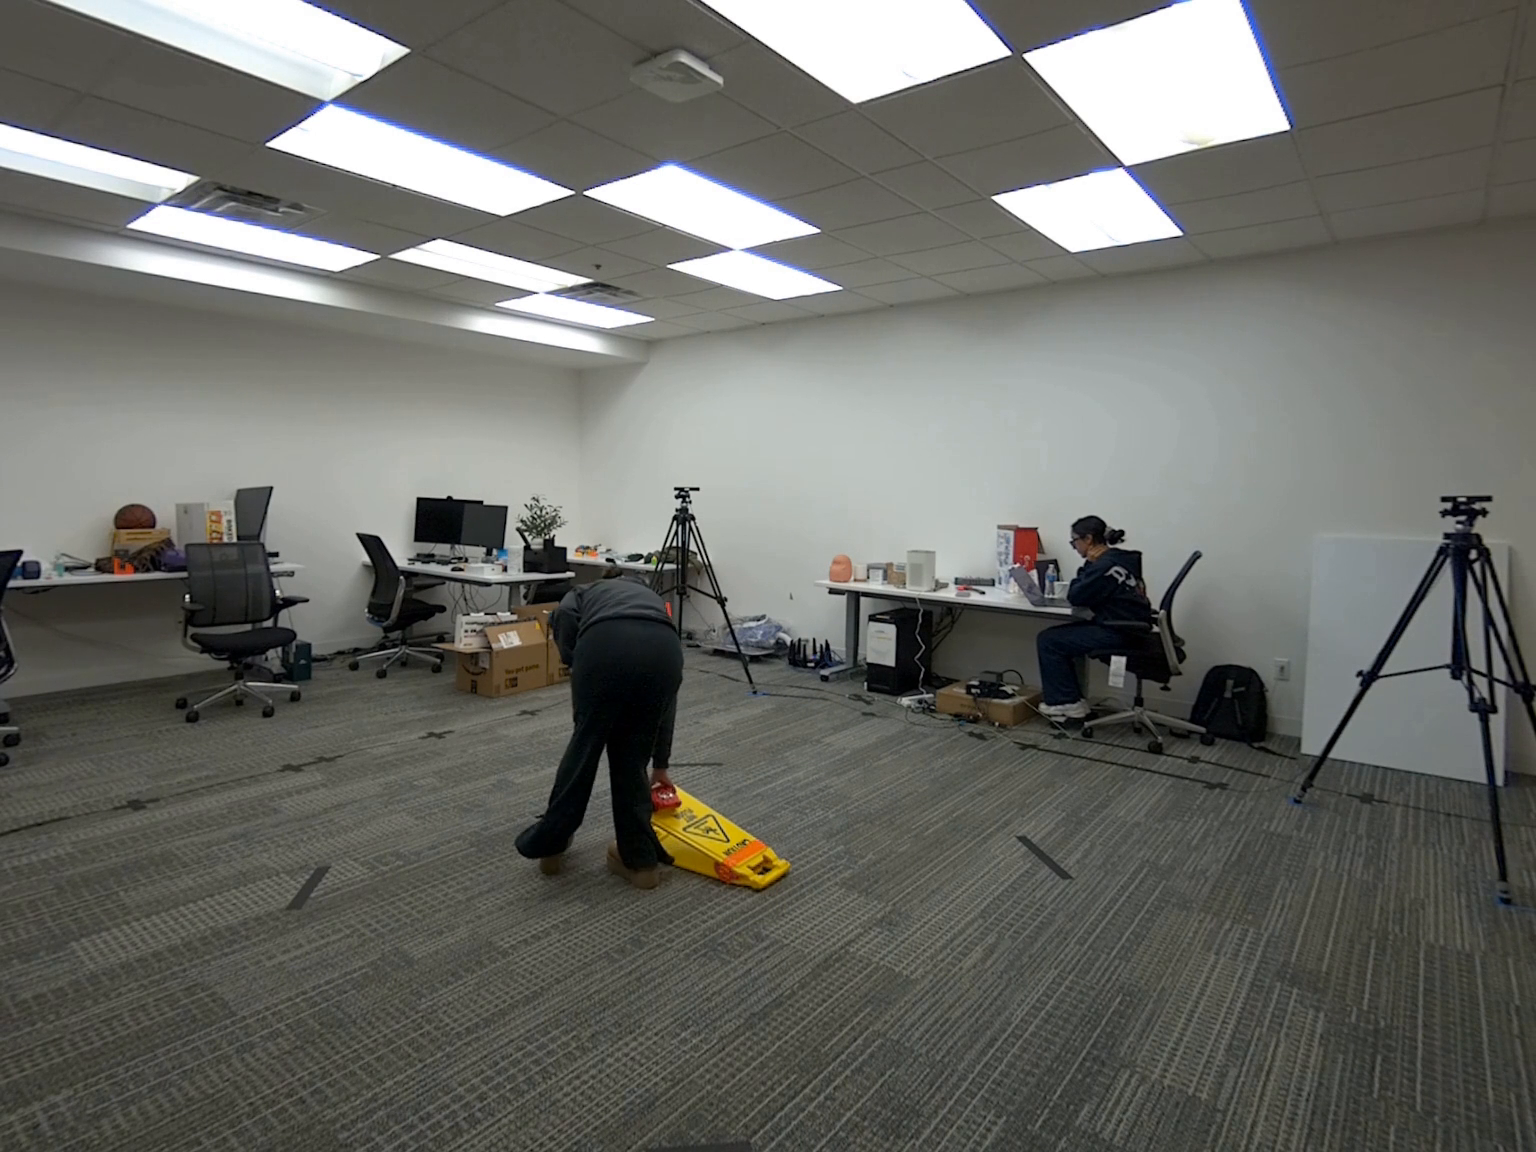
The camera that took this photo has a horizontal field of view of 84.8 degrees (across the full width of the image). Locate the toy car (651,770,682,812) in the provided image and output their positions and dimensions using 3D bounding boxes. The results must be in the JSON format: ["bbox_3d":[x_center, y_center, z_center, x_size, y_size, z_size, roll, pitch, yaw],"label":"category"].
[{"bbox_3d":[-0.425,0.848,3.271,0.126,0.083,0.261,1,-3,-35],"label":"toy car"}]
